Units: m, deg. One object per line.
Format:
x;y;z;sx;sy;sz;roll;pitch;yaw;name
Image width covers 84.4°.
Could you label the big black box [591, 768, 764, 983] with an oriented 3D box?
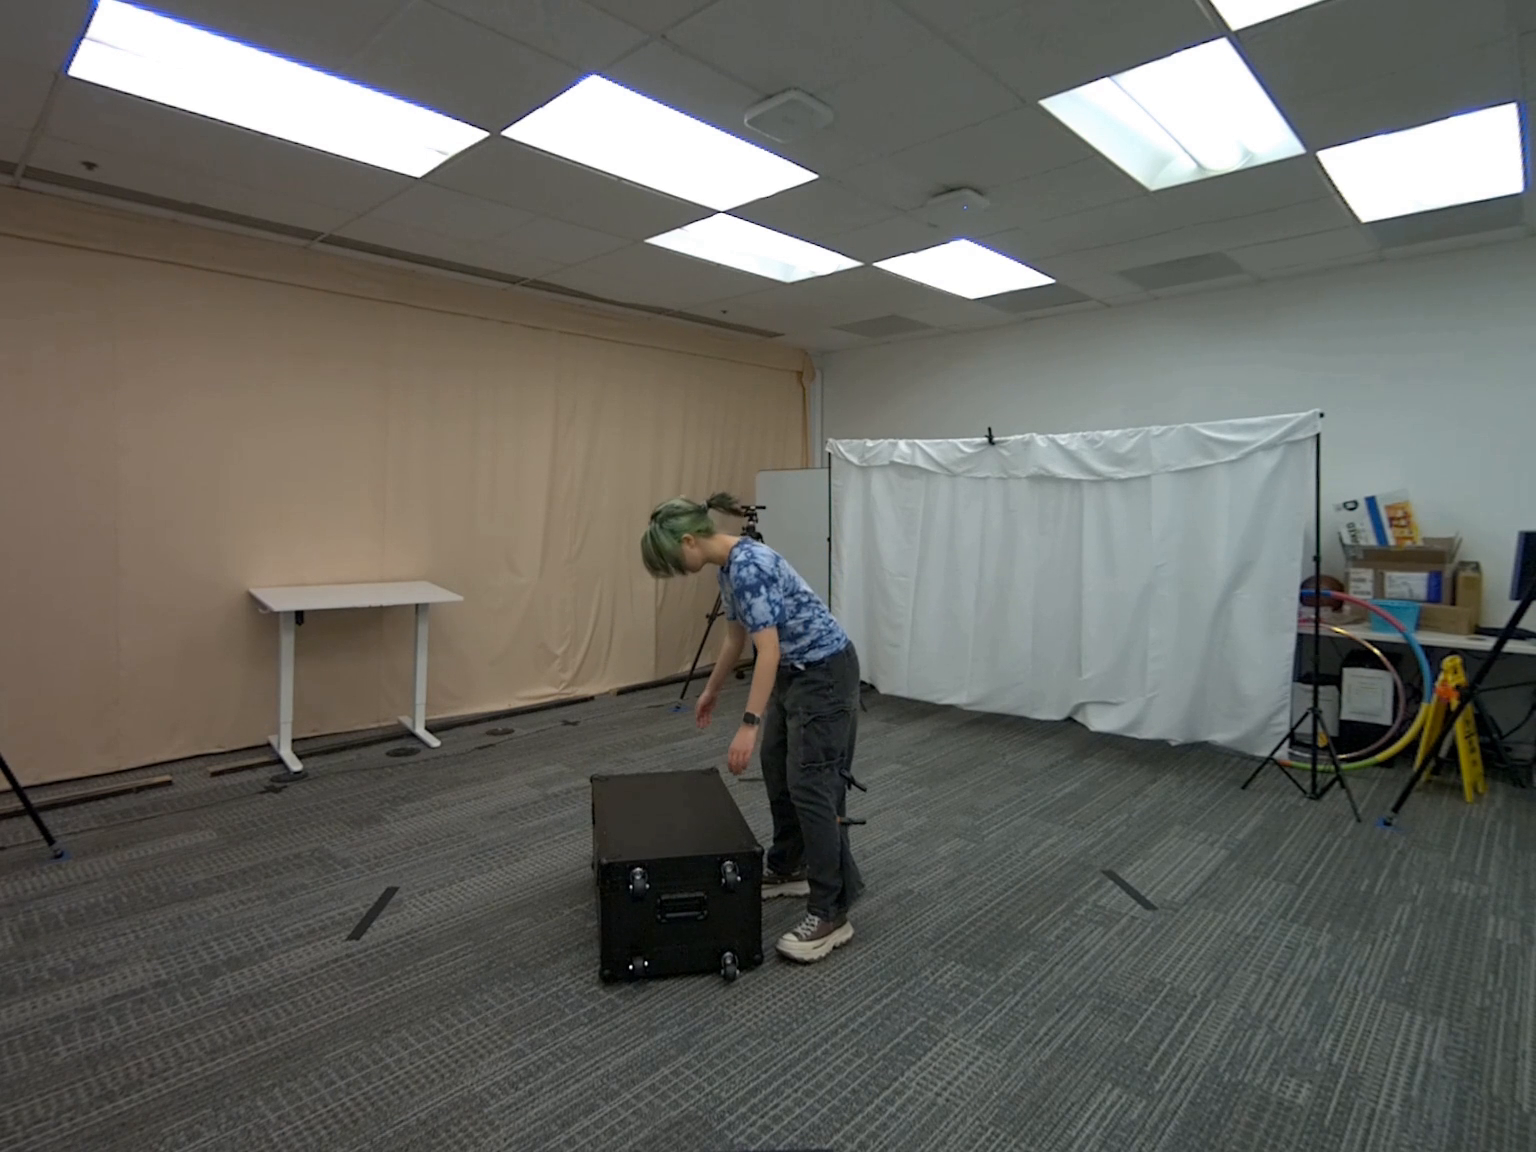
-0.344;0.960;2.868;0.515;0.395;0.874;0;5;-13;big black box
